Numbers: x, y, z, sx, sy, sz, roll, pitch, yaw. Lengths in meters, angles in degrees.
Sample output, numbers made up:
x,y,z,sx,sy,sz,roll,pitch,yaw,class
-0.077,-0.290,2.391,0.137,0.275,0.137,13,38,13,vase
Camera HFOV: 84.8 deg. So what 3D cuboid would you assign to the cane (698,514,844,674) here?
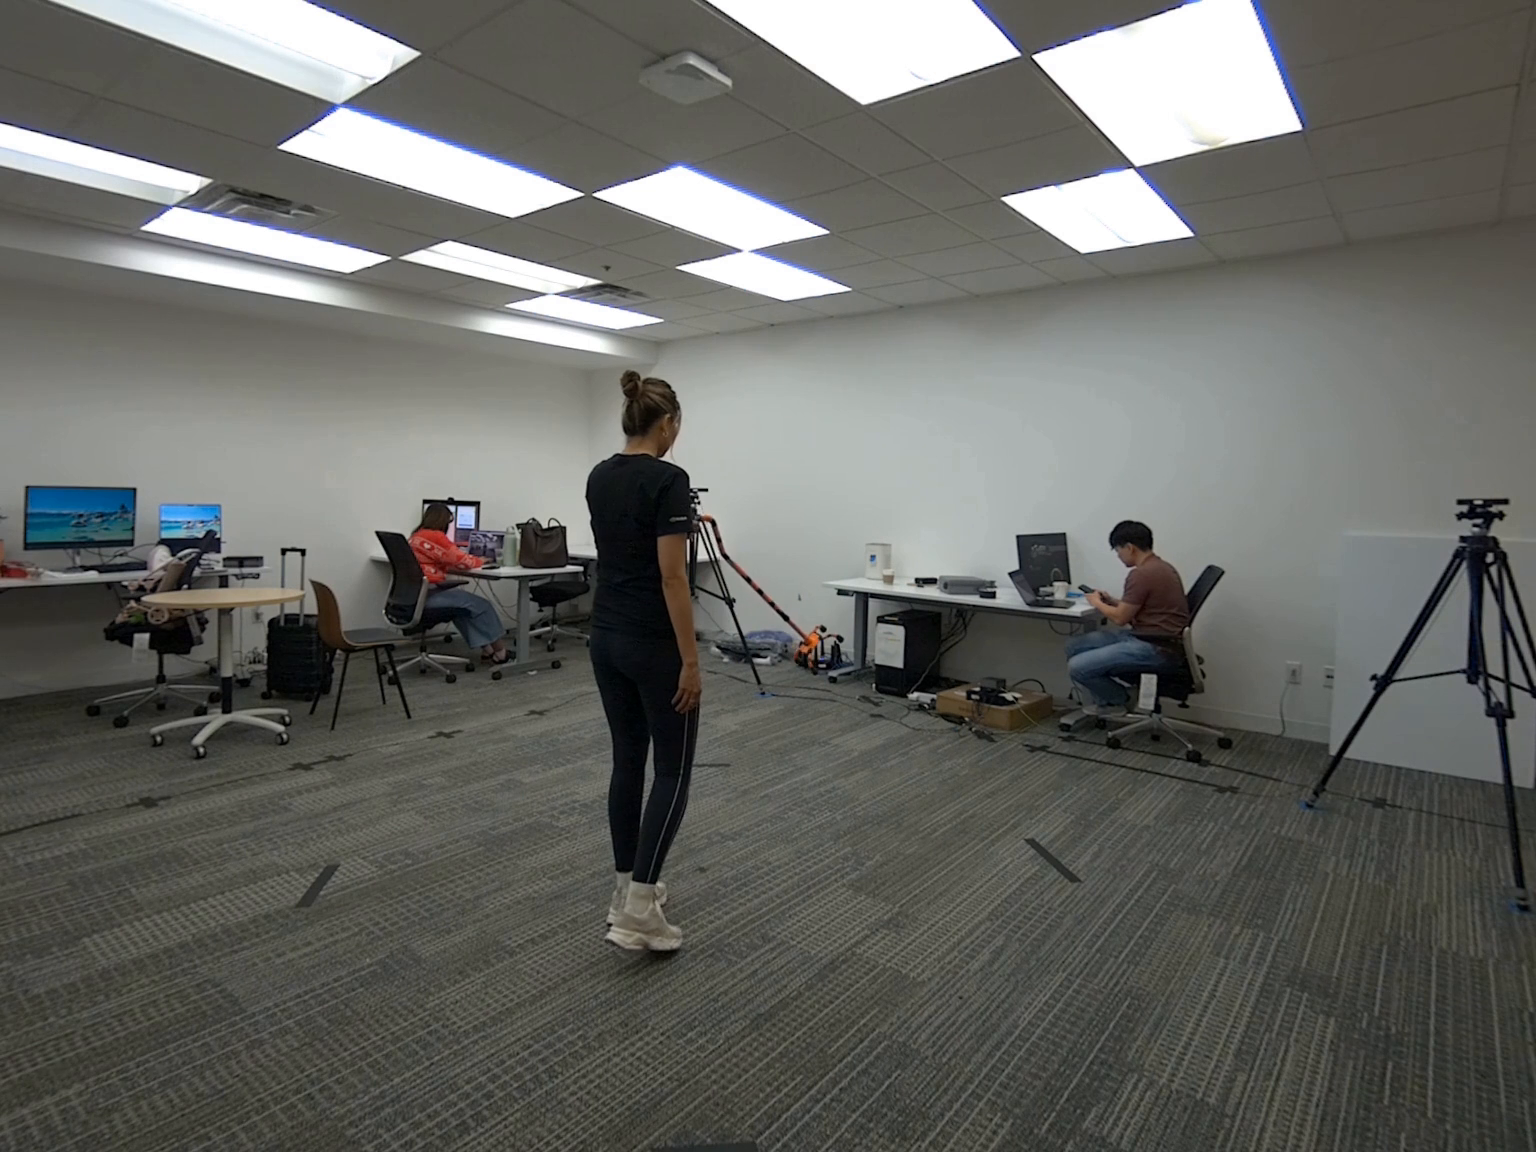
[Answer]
x,y,z,sx,sy,sz,roll,pitch,yaw,class
-0.045,0.082,3.416,0.157,0.207,0.873,20,-23,53,cane
